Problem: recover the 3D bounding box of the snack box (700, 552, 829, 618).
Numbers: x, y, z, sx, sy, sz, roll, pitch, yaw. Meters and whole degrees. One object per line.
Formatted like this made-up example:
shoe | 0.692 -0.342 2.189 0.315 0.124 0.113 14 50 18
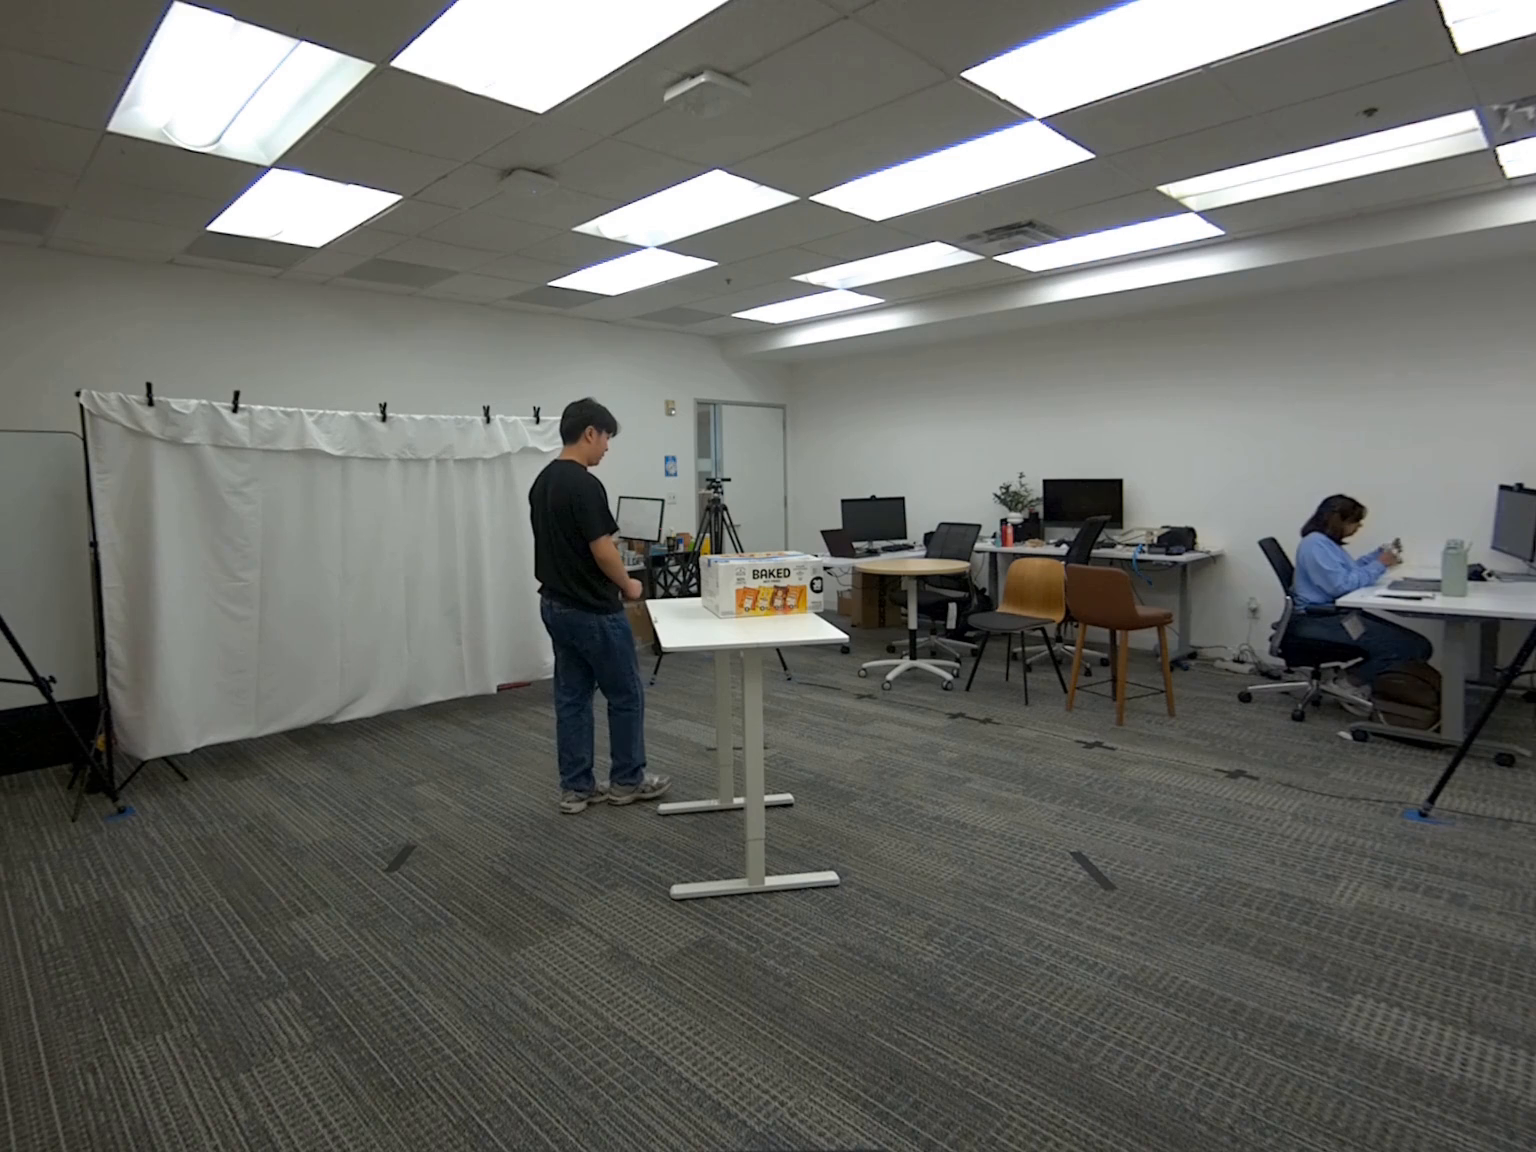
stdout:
snack box | -0.029 0.028 3.334 0.400 0.205 0.346 -3 6 -14
